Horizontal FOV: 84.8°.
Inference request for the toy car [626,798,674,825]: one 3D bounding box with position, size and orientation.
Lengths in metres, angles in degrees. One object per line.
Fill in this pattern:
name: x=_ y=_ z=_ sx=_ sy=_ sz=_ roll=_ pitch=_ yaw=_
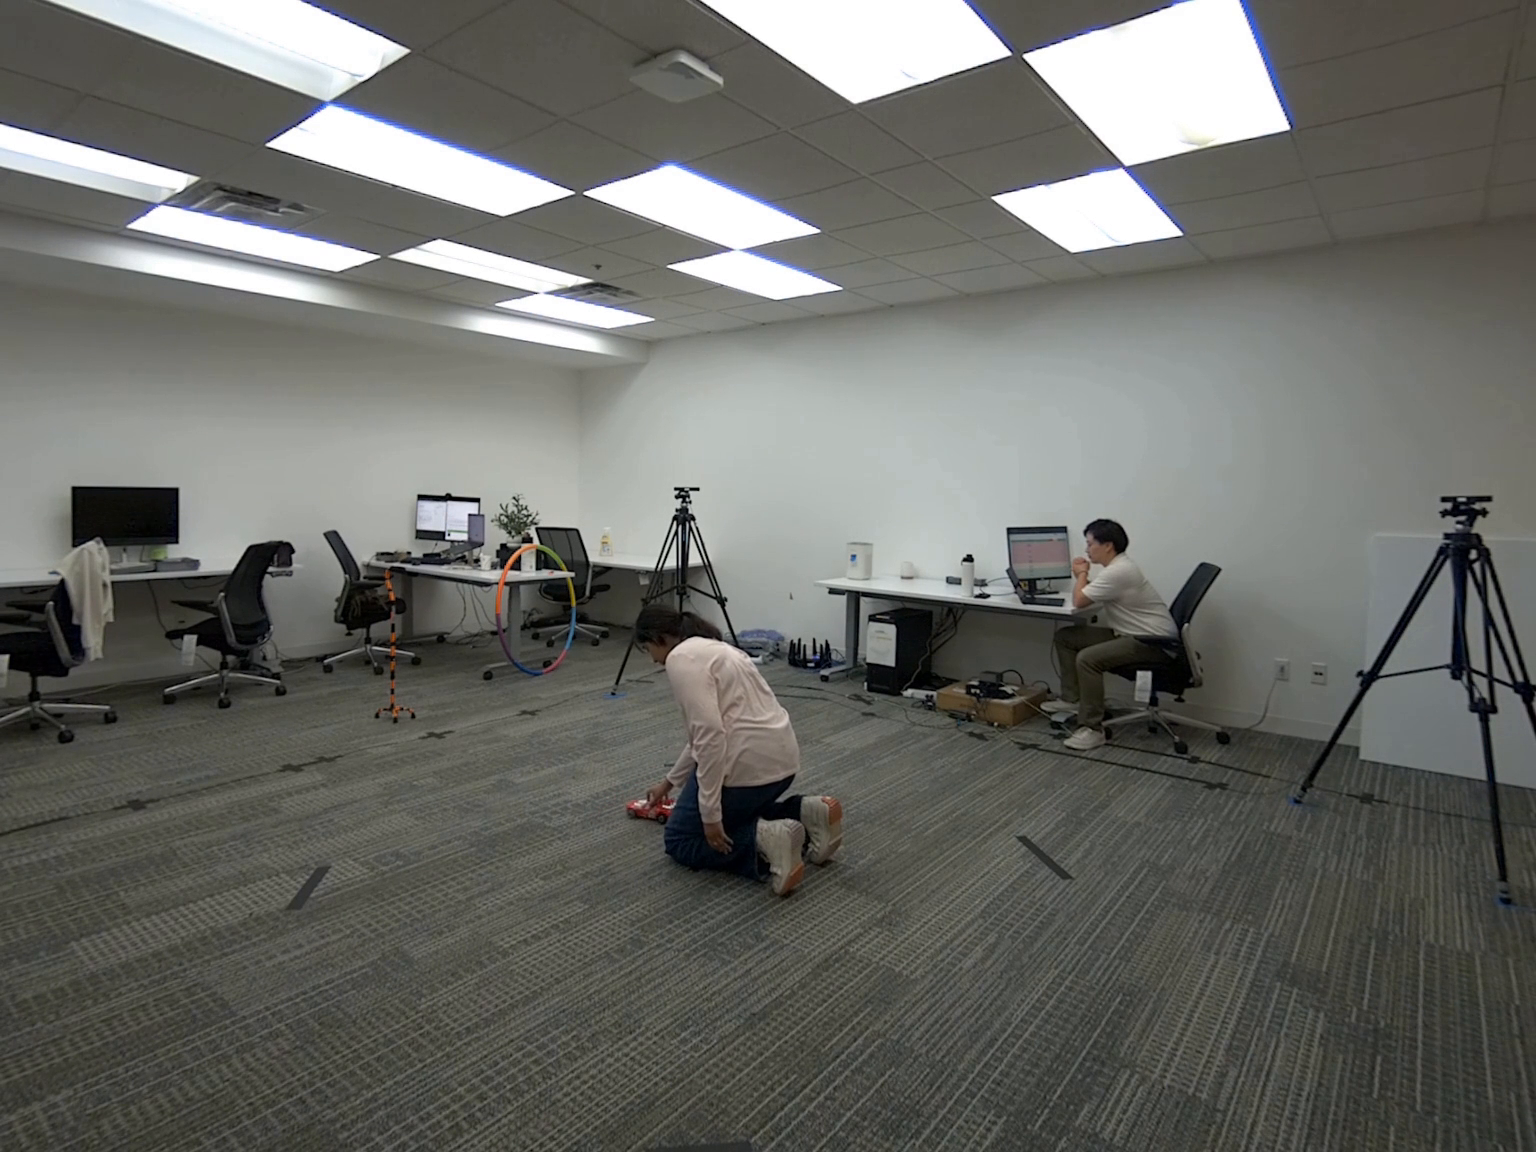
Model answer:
toy car: x=-0.483 y=0.987 z=3.588 sx=0.259 sy=0.083 sz=0.128 roll=-8 pitch=2 yaw=20
